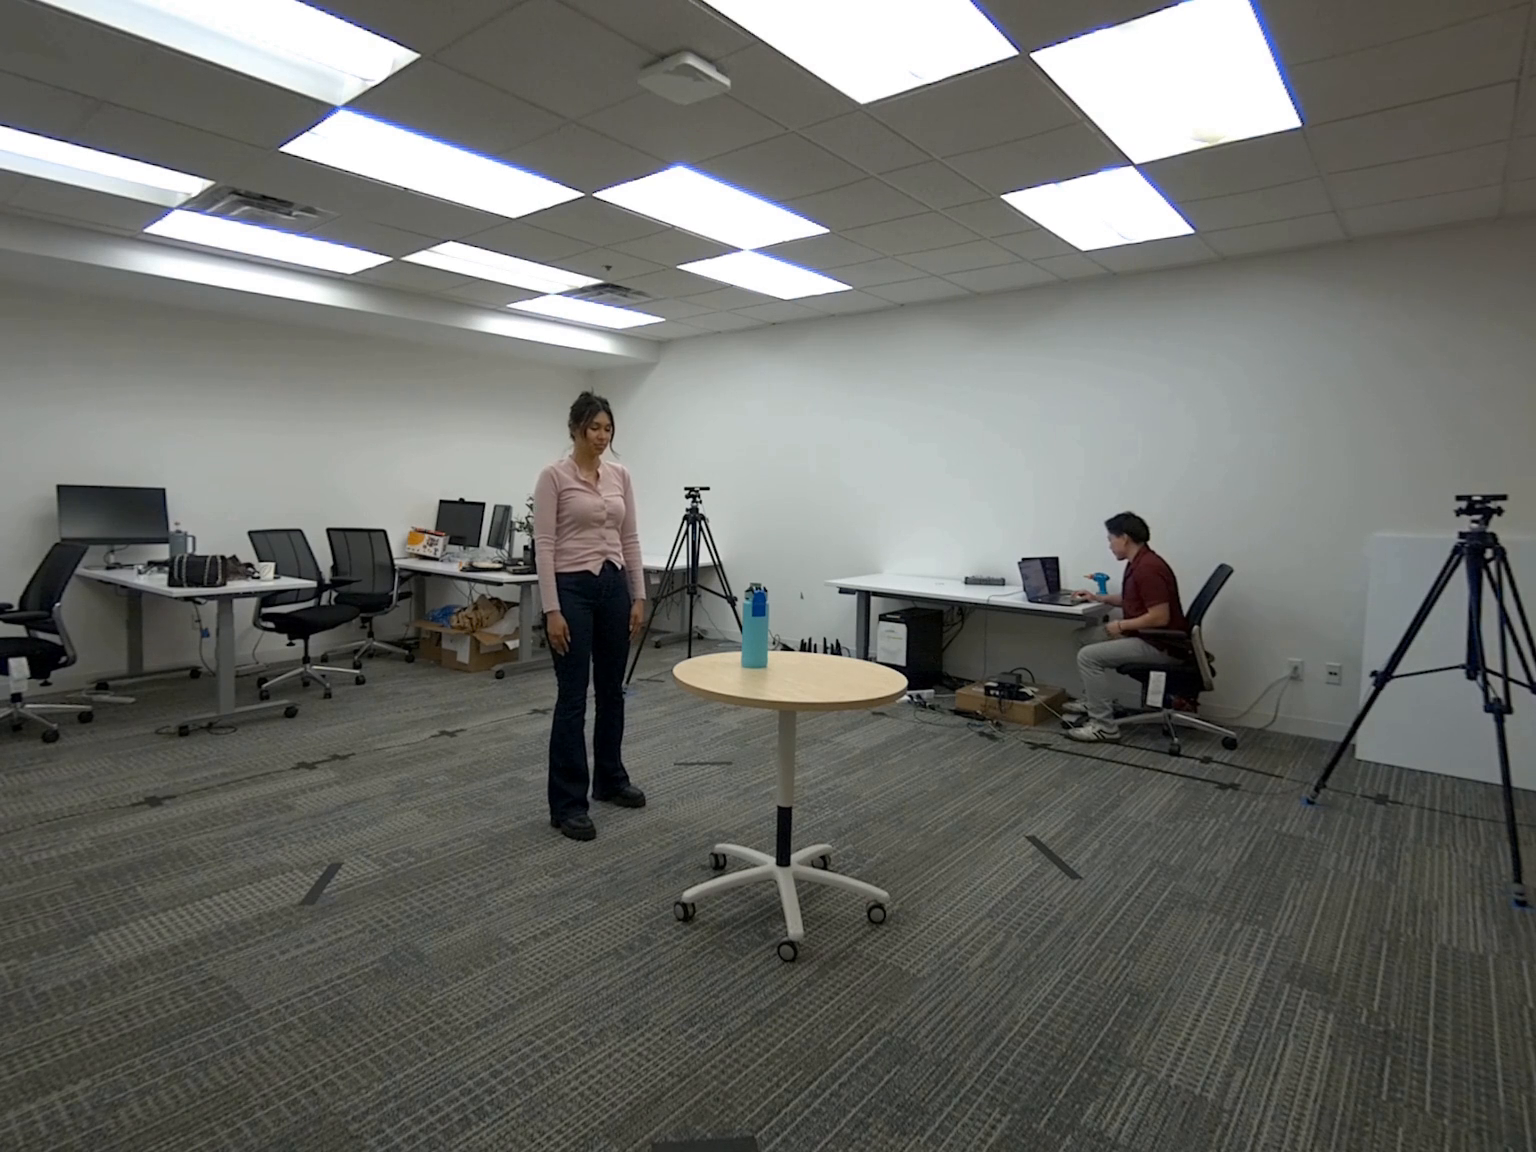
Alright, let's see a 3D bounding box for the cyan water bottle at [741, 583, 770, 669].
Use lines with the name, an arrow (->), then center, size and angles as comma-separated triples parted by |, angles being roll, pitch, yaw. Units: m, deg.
cyan water bottle -> -0.047, 0.166, 2.889 | 0.092, 0.282, 0.093 | 3, 4, -2
